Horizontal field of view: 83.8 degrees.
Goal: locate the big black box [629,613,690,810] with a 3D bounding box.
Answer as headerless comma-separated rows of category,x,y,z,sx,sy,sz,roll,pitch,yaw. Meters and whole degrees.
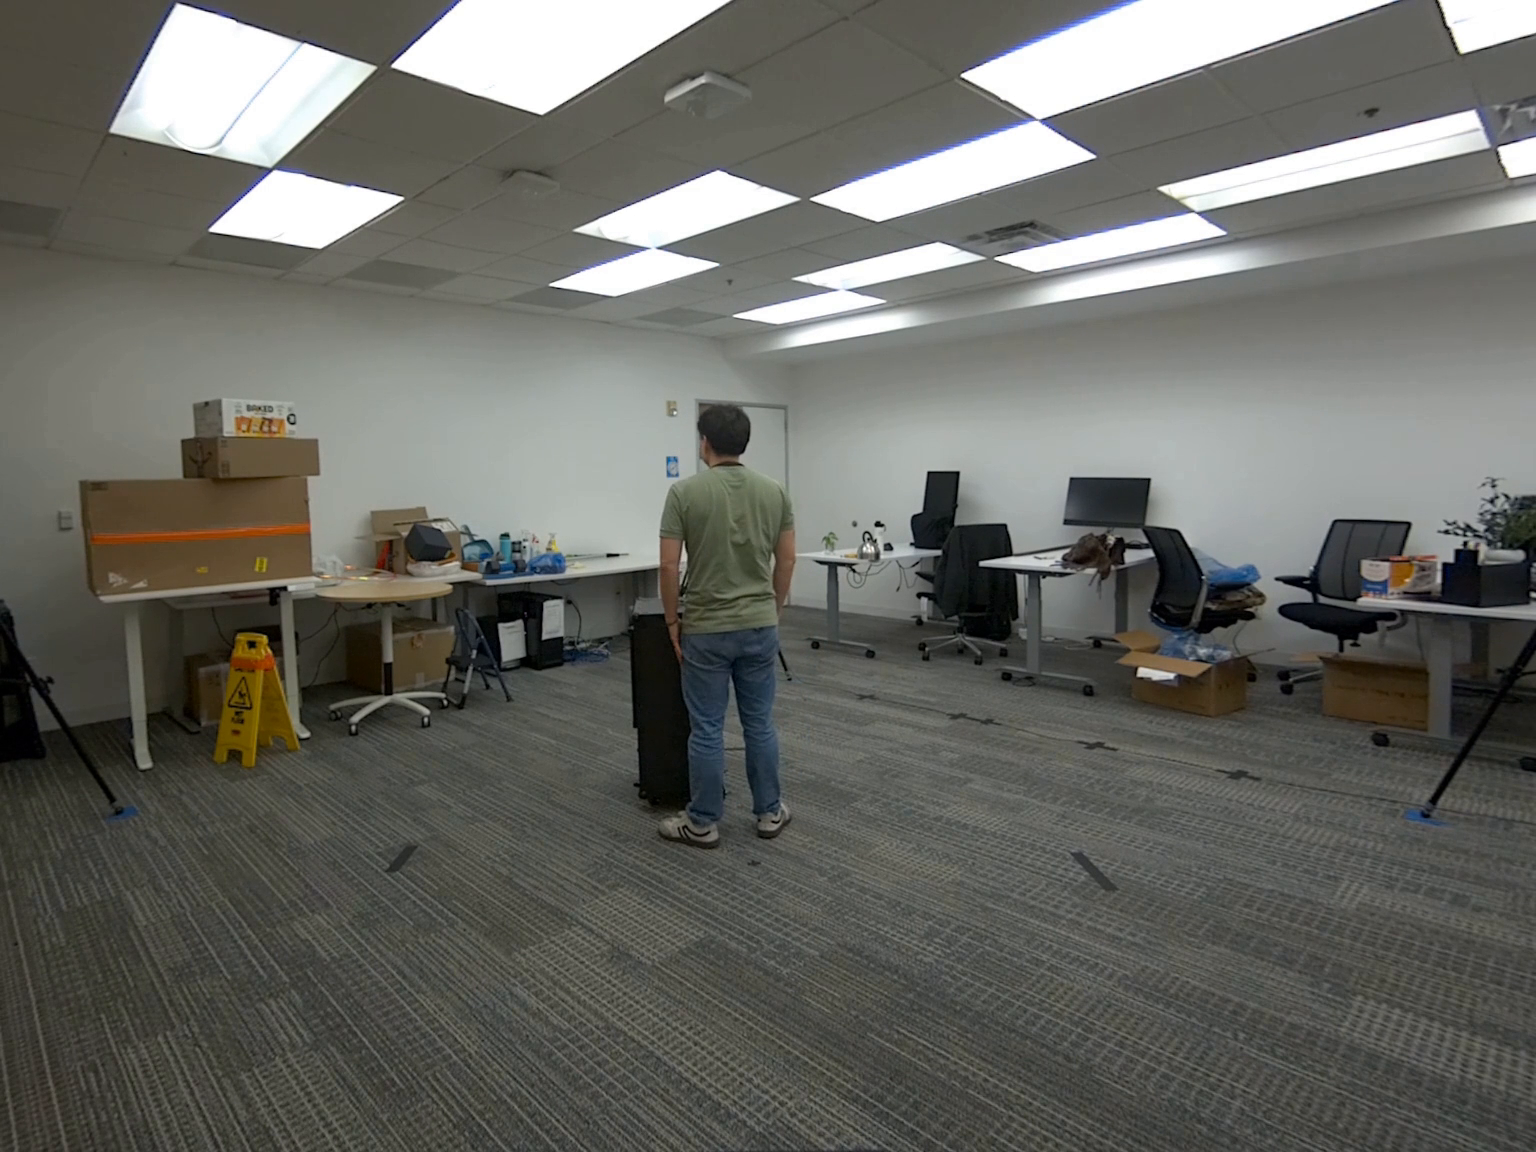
big black box,-0.406,0.546,3.790,0.395,0.858,0.525,-3,4,-4
